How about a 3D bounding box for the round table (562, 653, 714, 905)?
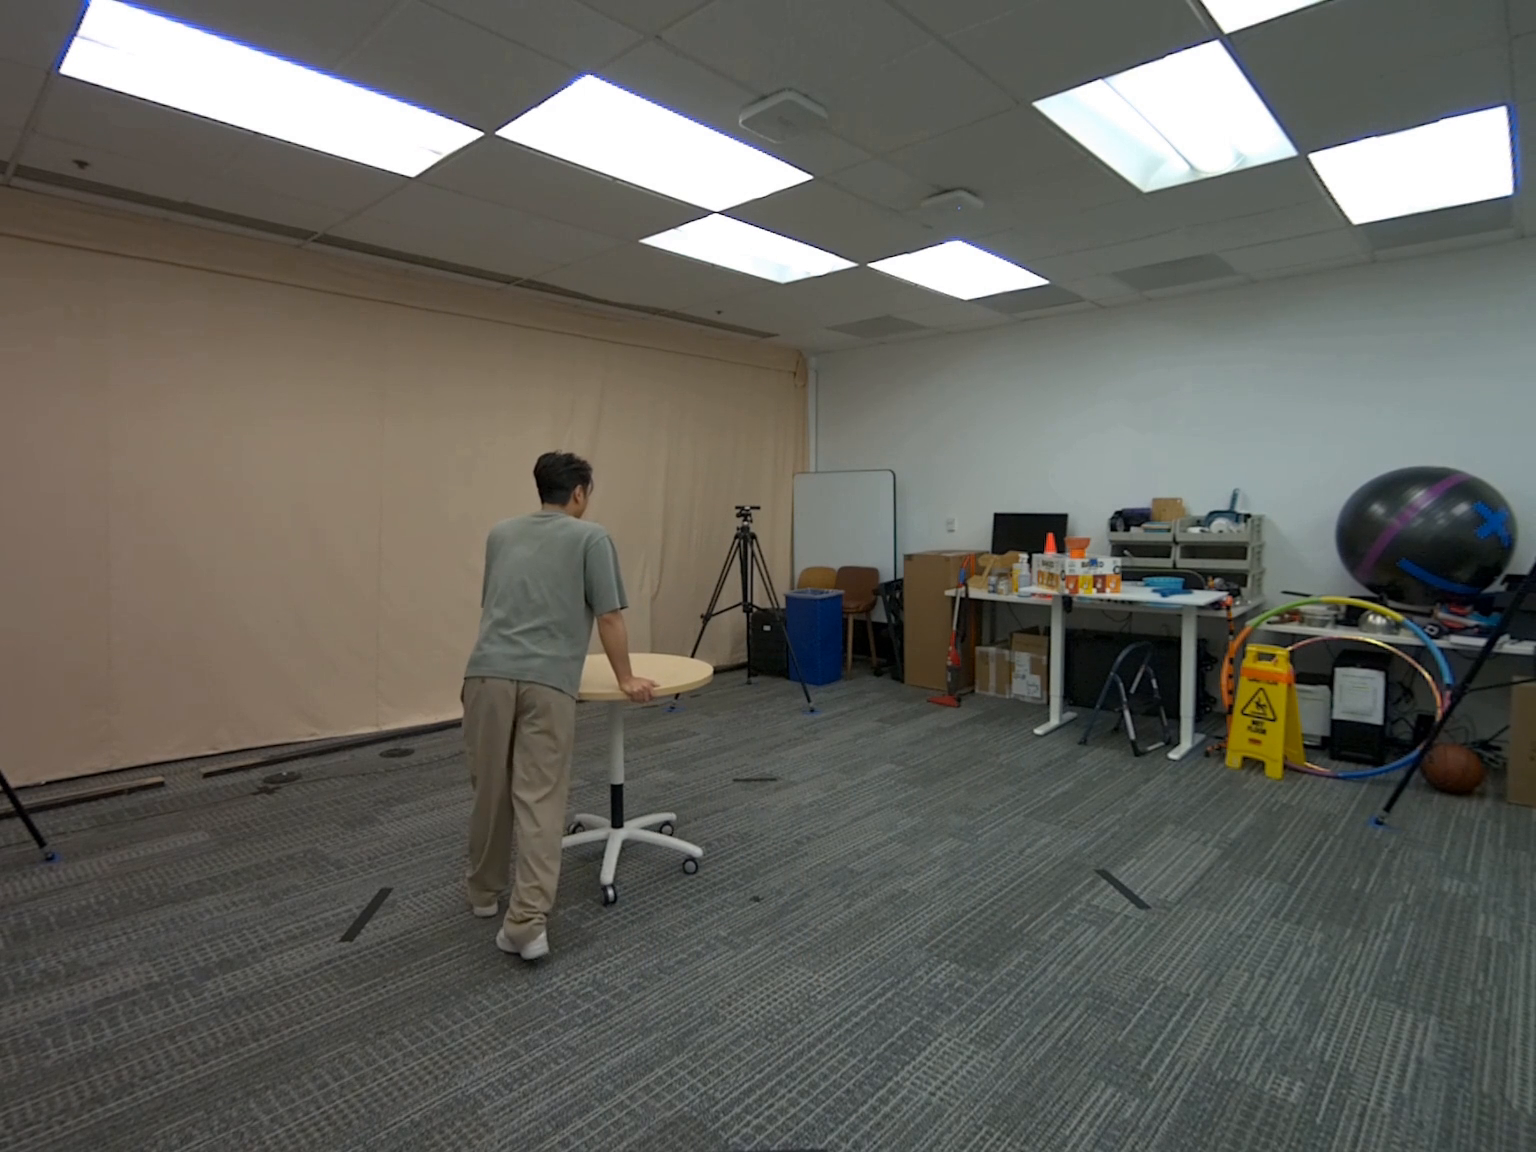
[{"bbox_3d":[-0.574,0.746,3.275,0.784,0.785,0.788,-1,4,-2],"label":"round table"}]
